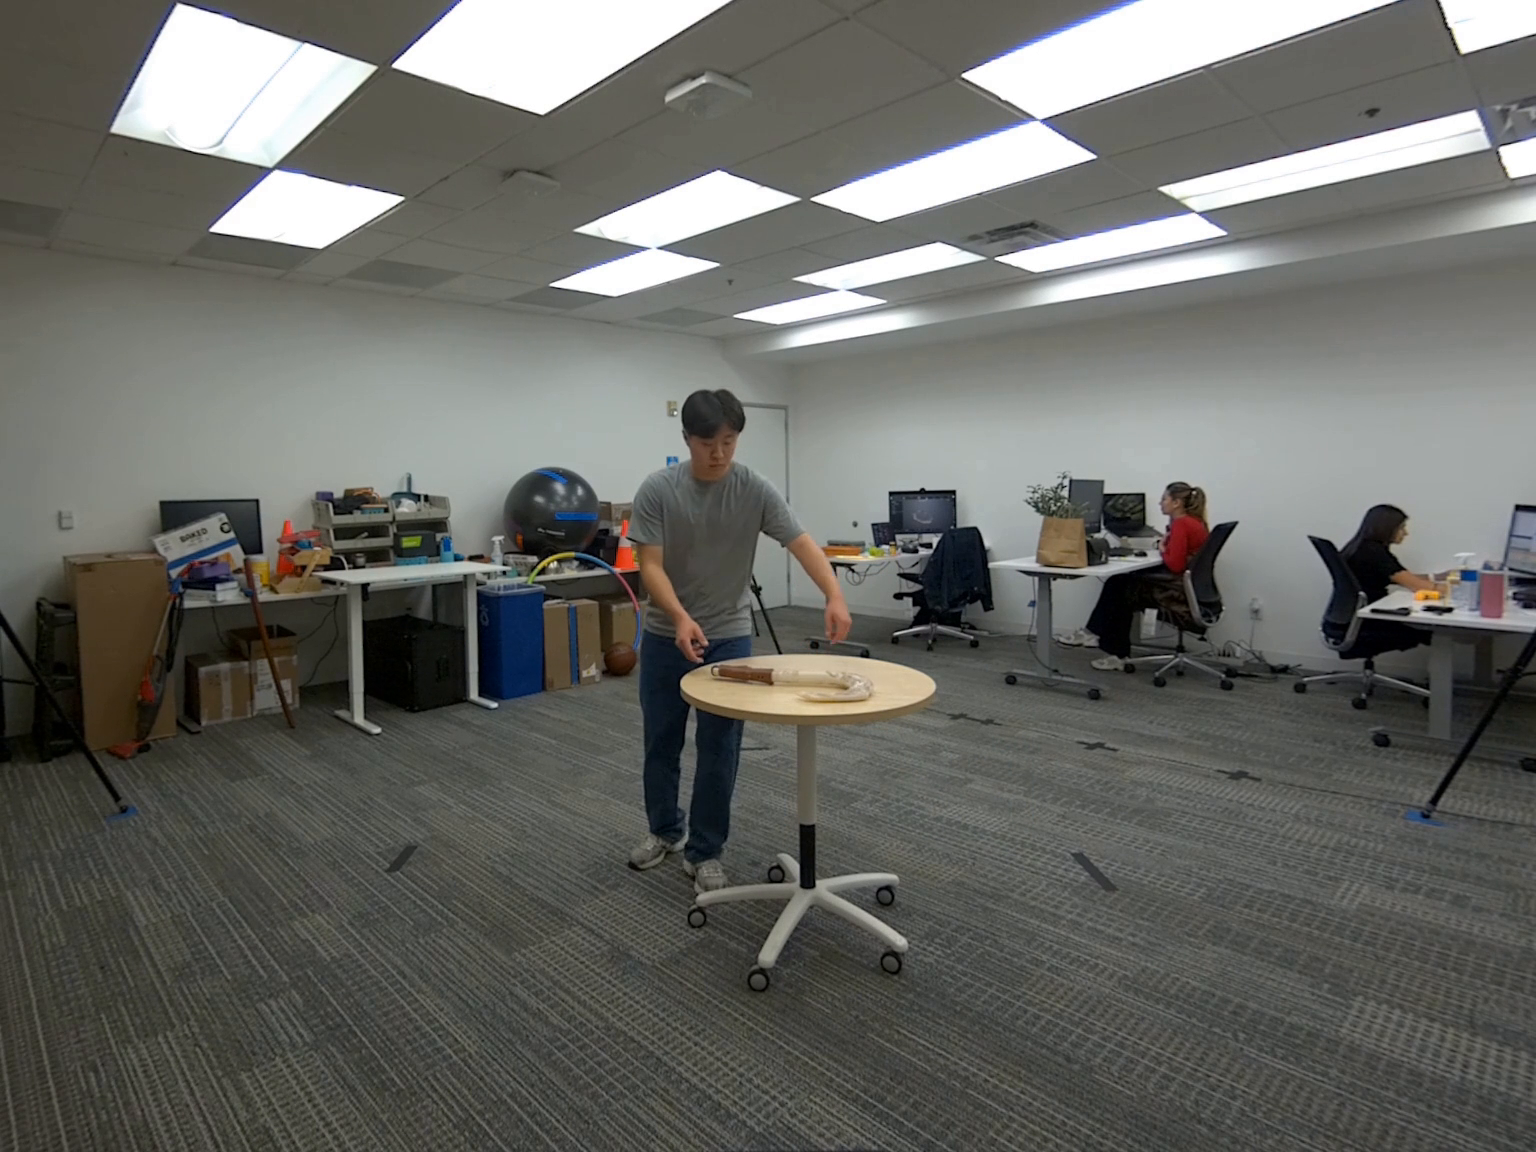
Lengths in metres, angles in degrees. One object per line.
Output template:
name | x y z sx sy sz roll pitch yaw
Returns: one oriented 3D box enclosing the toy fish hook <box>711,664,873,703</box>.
toy fish hook | 0.067 0.318 2.464 0.516 0.048 0.221 1 5 20
